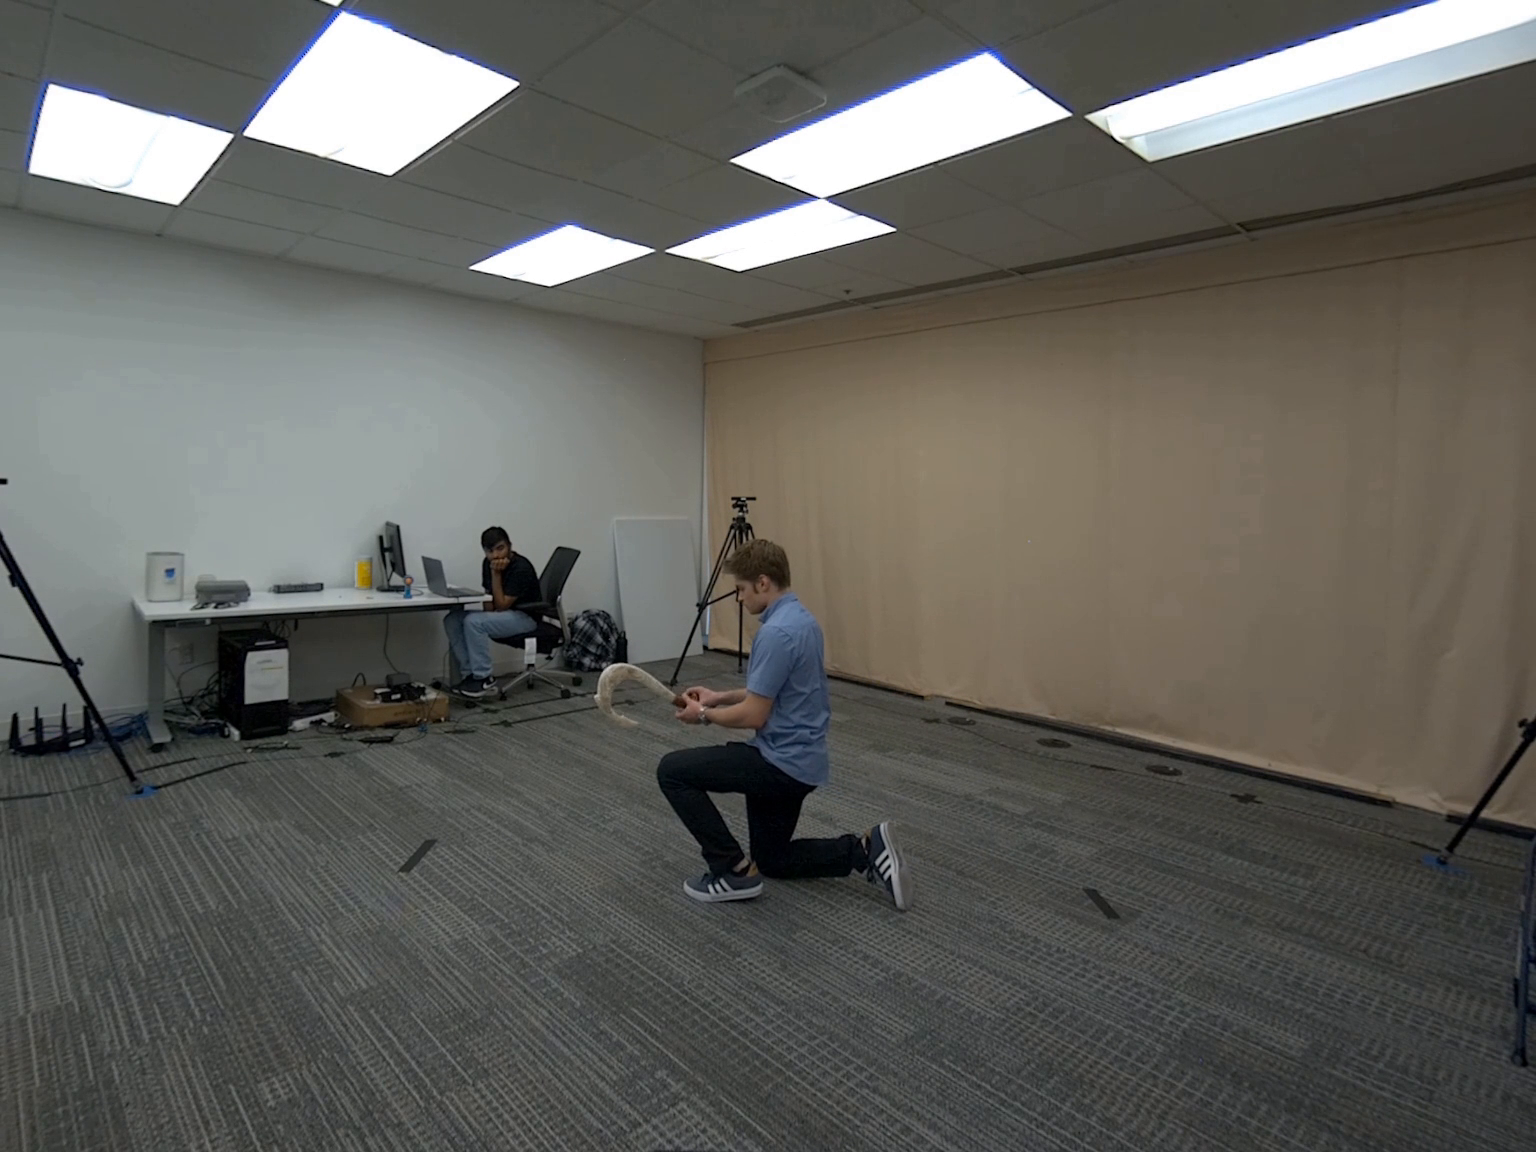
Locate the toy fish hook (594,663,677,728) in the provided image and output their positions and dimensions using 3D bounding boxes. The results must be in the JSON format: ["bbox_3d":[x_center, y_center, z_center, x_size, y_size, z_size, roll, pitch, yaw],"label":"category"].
[{"bbox_3d":[-0.418,0.484,3.151,0.494,0.226,0.049,24,-18,-27],"label":"toy fish hook"}]
